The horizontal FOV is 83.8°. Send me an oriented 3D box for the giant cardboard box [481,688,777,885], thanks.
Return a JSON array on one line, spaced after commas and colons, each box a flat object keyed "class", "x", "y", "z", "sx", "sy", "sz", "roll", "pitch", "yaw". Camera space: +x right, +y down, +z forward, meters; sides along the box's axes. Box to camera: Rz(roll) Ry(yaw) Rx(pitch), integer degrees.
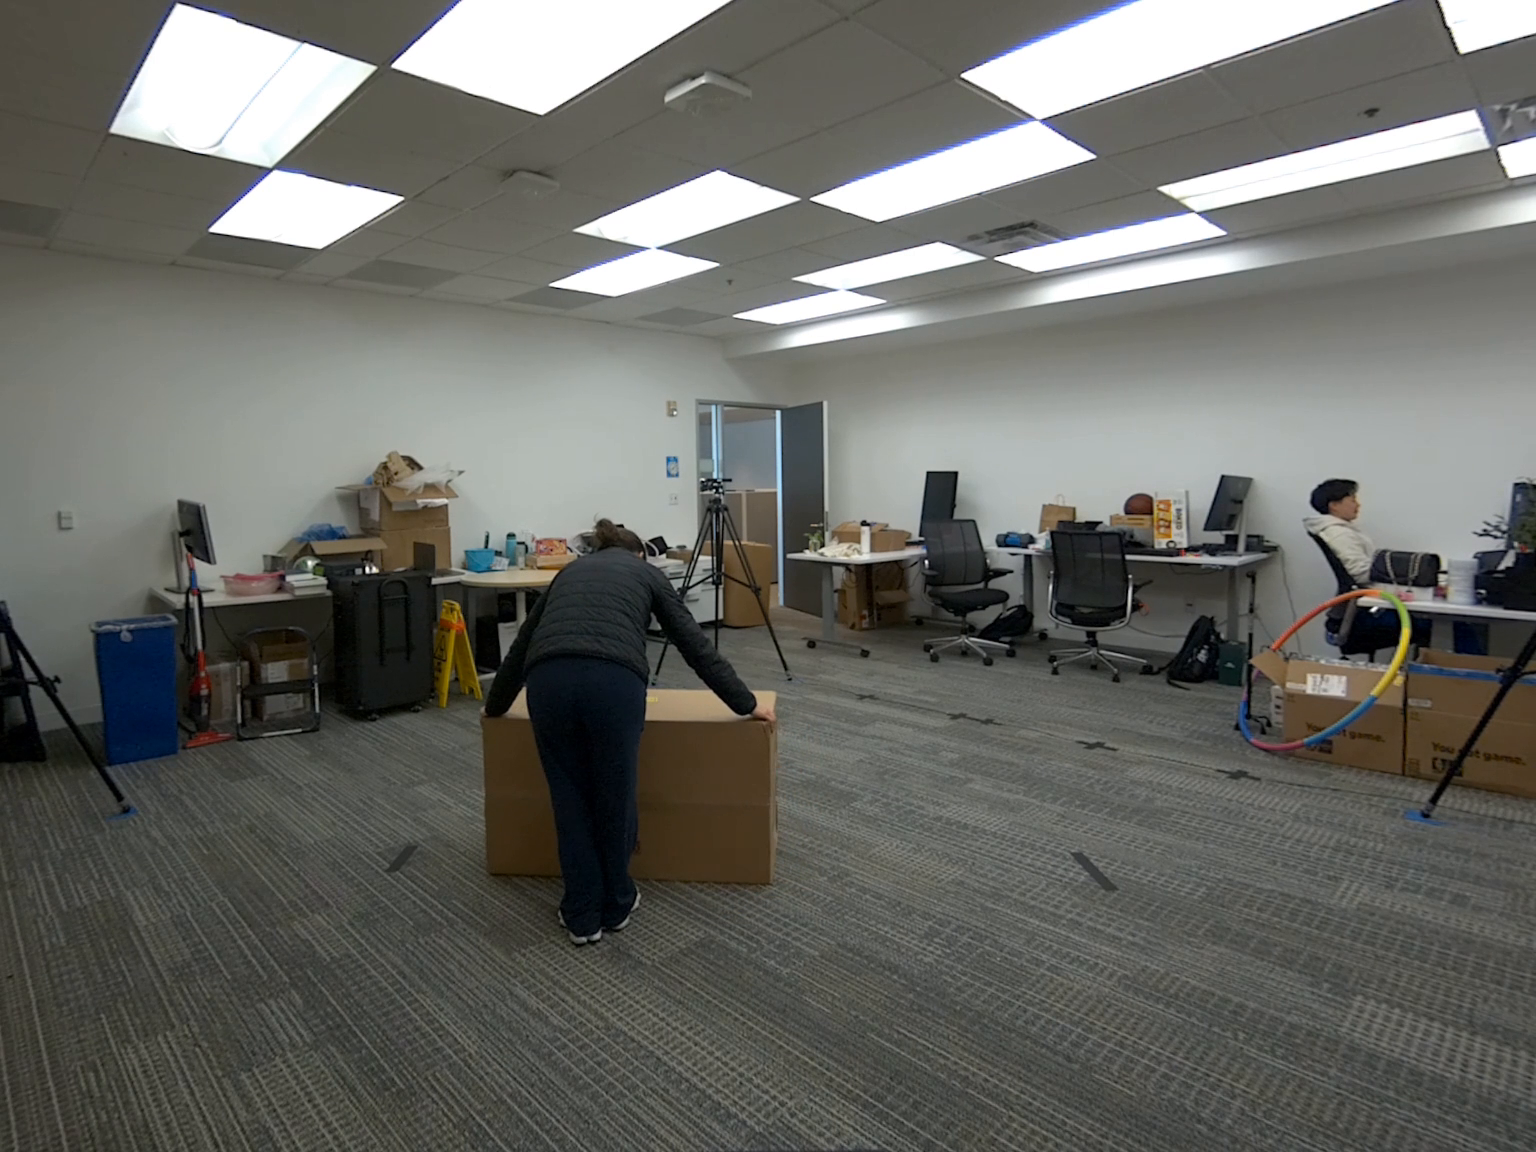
[{"class": "giant cardboard box", "x": -0.488, "y": 0.754, "z": 3.197, "sx": 1.033, "sy": 0.582, "sz": 0.446, "roll": 0, "pitch": 5, "yaw": 5}]
